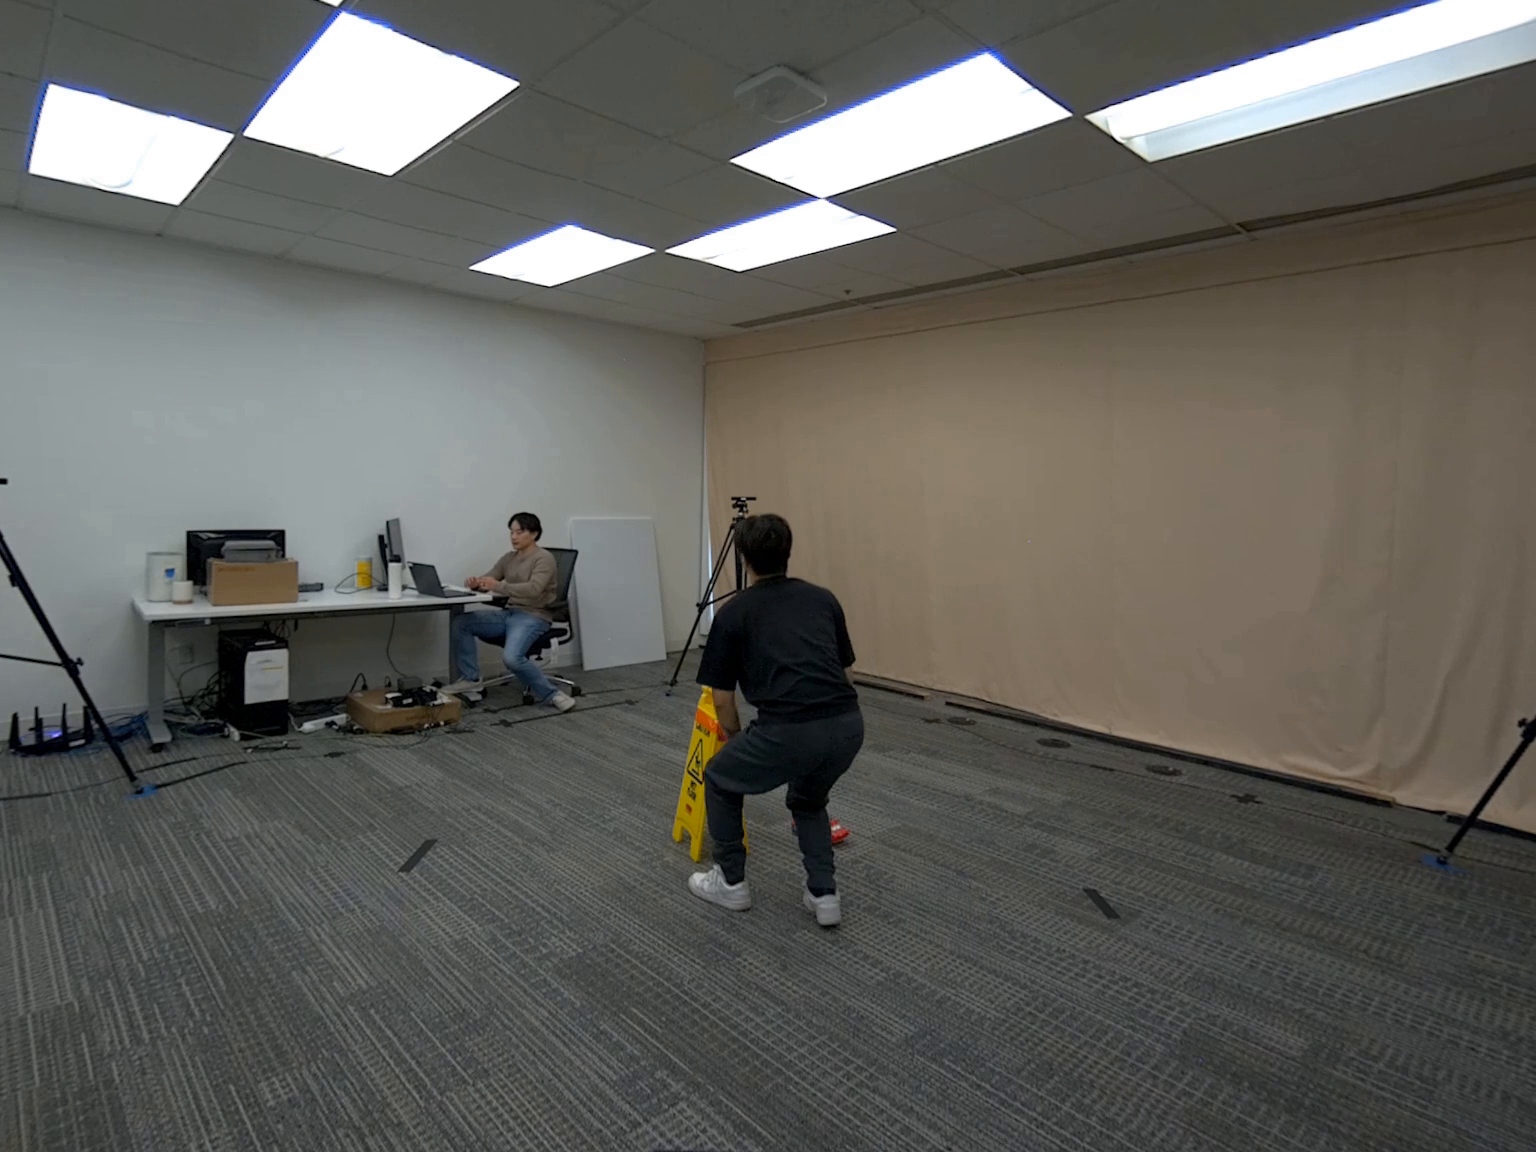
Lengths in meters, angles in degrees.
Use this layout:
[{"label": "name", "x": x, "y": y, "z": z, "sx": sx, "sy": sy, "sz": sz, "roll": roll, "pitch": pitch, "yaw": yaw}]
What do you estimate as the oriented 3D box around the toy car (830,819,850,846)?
[{"label": "toy car", "x": 0.218, "y": 1.053, "z": 3.478, "sx": 0.259, "sy": 0.083, "sz": 0.127, "roll": -10, "pitch": -5, "yaw": 44}]
